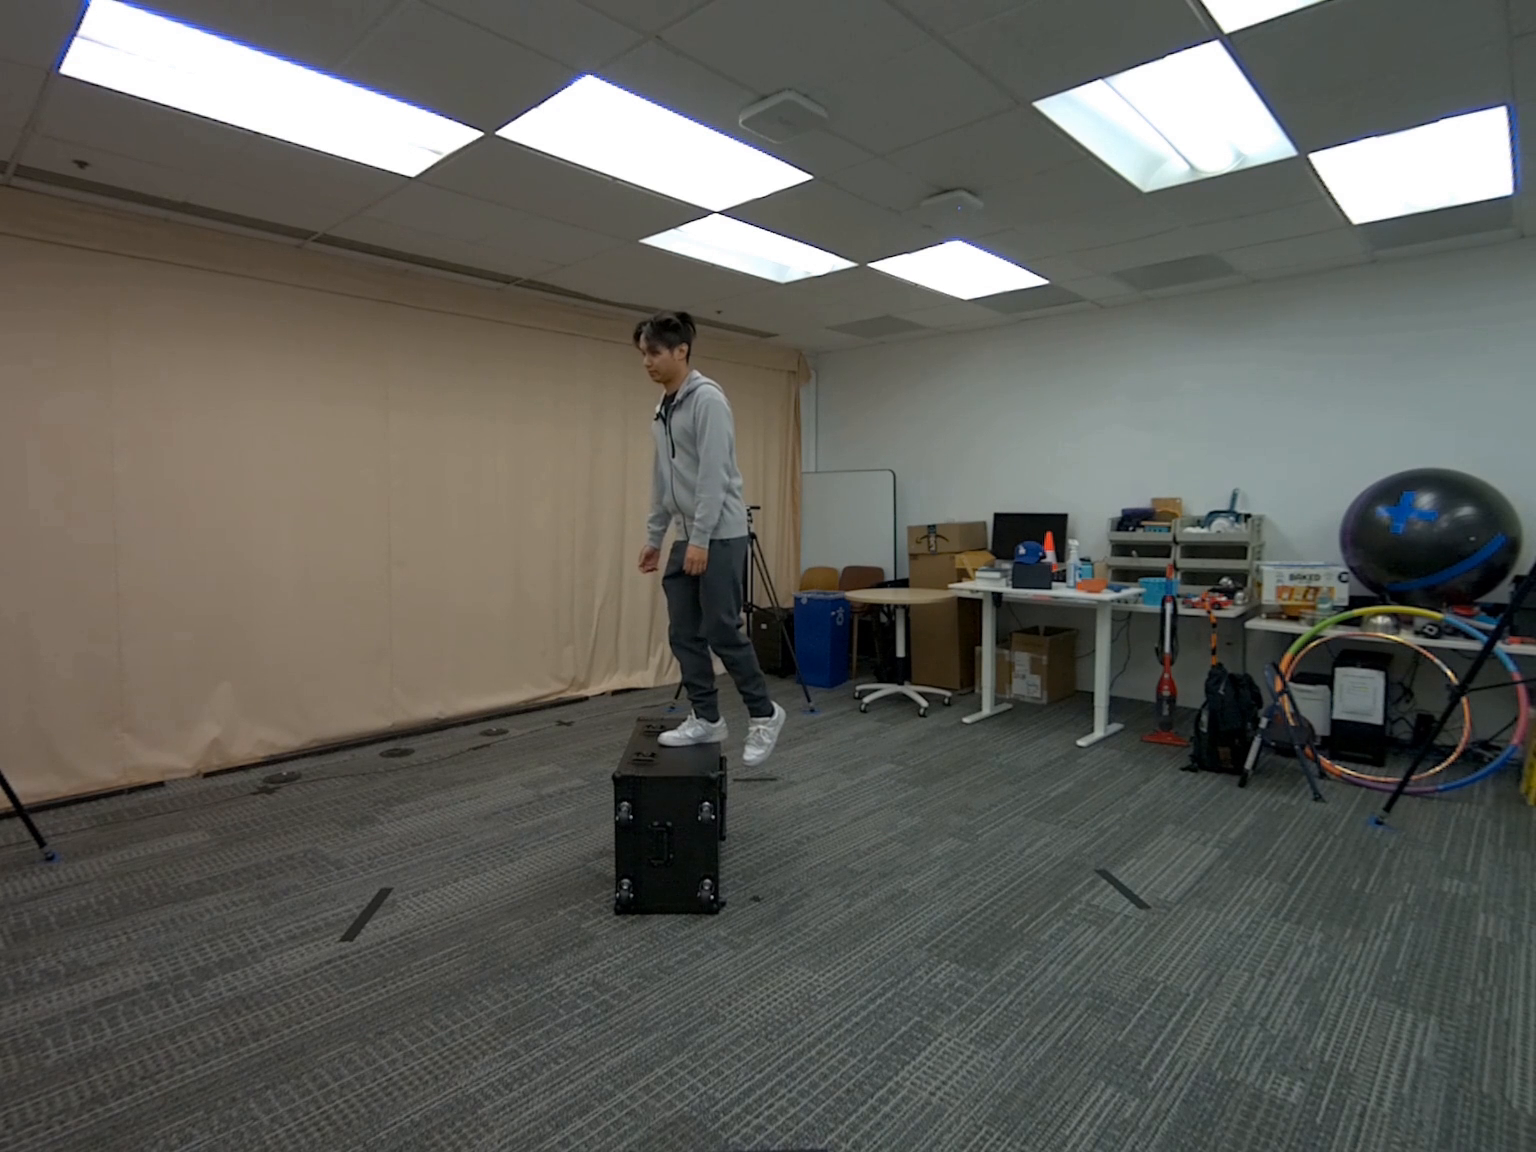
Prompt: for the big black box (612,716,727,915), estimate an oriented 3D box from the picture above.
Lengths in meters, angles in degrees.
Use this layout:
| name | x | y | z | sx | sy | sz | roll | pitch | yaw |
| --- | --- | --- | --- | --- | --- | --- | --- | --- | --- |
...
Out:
| name | x | y | z | sx | sy | sz | roll | pitch | yaw |
| --- | --- | --- | --- | --- | --- | --- | --- | --- | --- |
| big black box | -0.348 | 0.886 | 3.212 | 0.396 | 0.520 | 0.863 | 0 | 4 | -1 |
